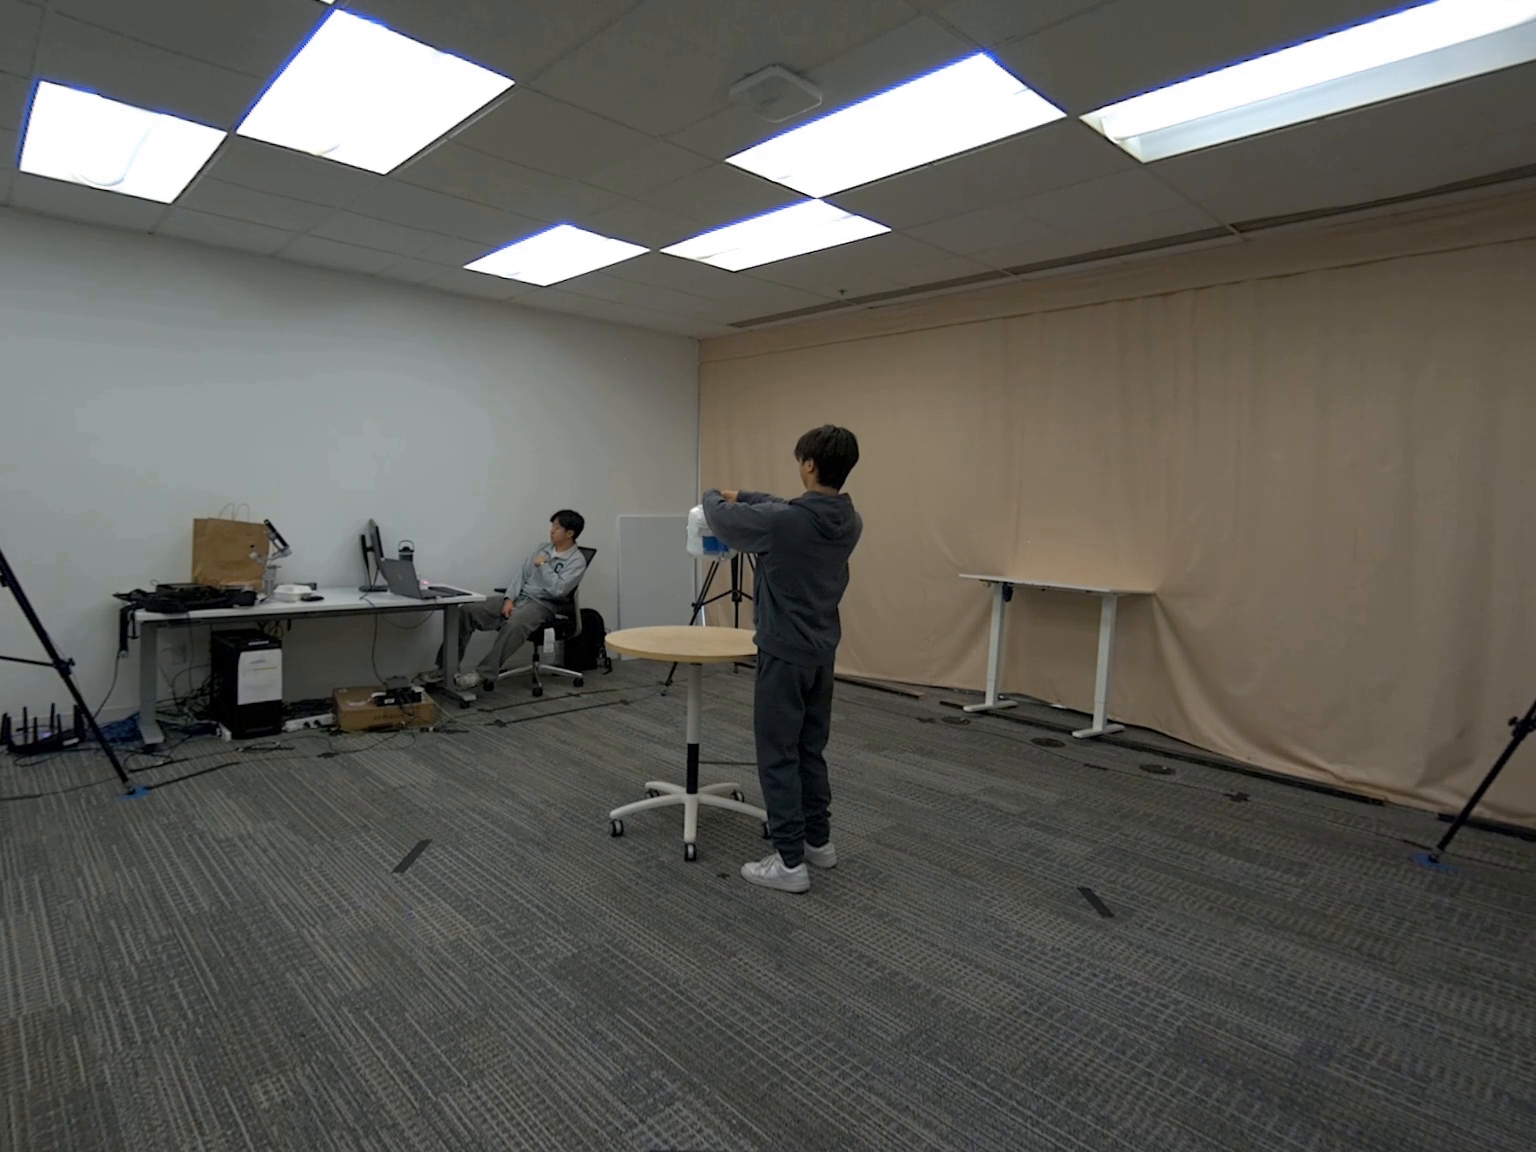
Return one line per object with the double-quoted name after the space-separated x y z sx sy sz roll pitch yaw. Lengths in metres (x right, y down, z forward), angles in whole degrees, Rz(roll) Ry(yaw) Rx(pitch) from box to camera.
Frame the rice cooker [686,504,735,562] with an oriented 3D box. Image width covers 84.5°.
-0.233 -0.191 3.472 0.221 0.231 0.219 11 14 18 "rice cooker"
